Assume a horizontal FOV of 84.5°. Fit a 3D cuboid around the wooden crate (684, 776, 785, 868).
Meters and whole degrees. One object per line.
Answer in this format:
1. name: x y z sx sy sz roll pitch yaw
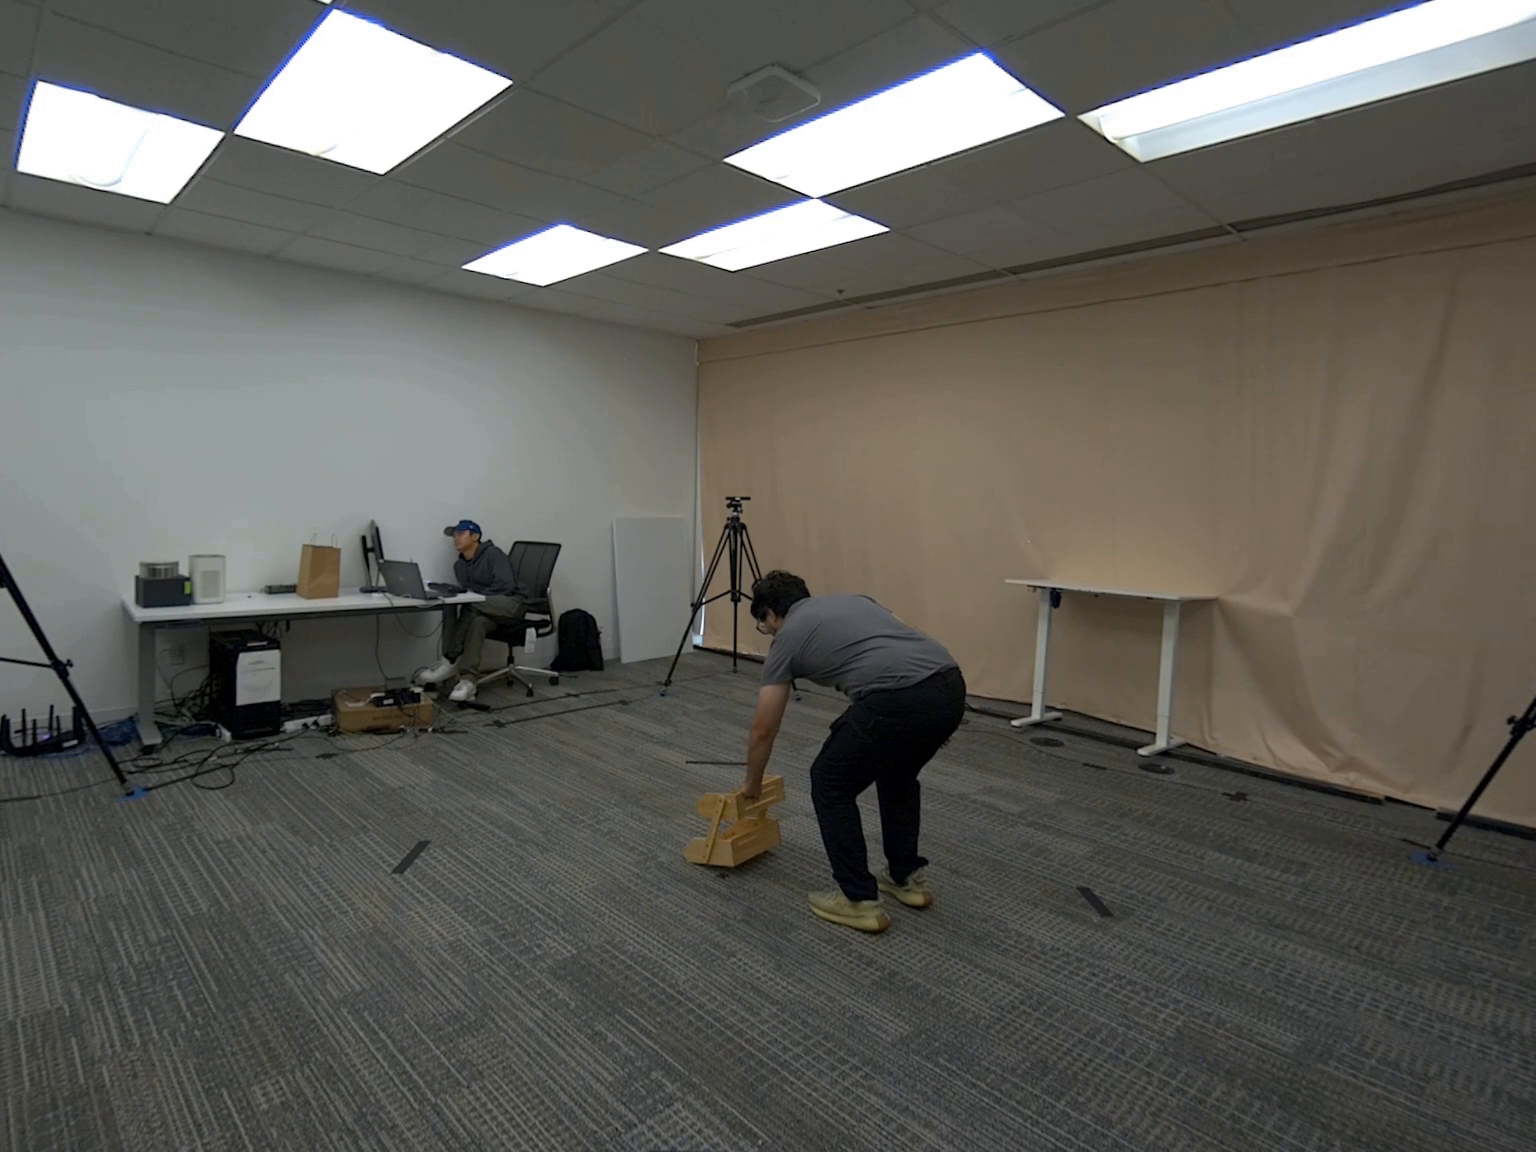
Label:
1. wooden crate: -0.141 0.934 3.260 0.308 0.274 0.317 -10 -4 37
